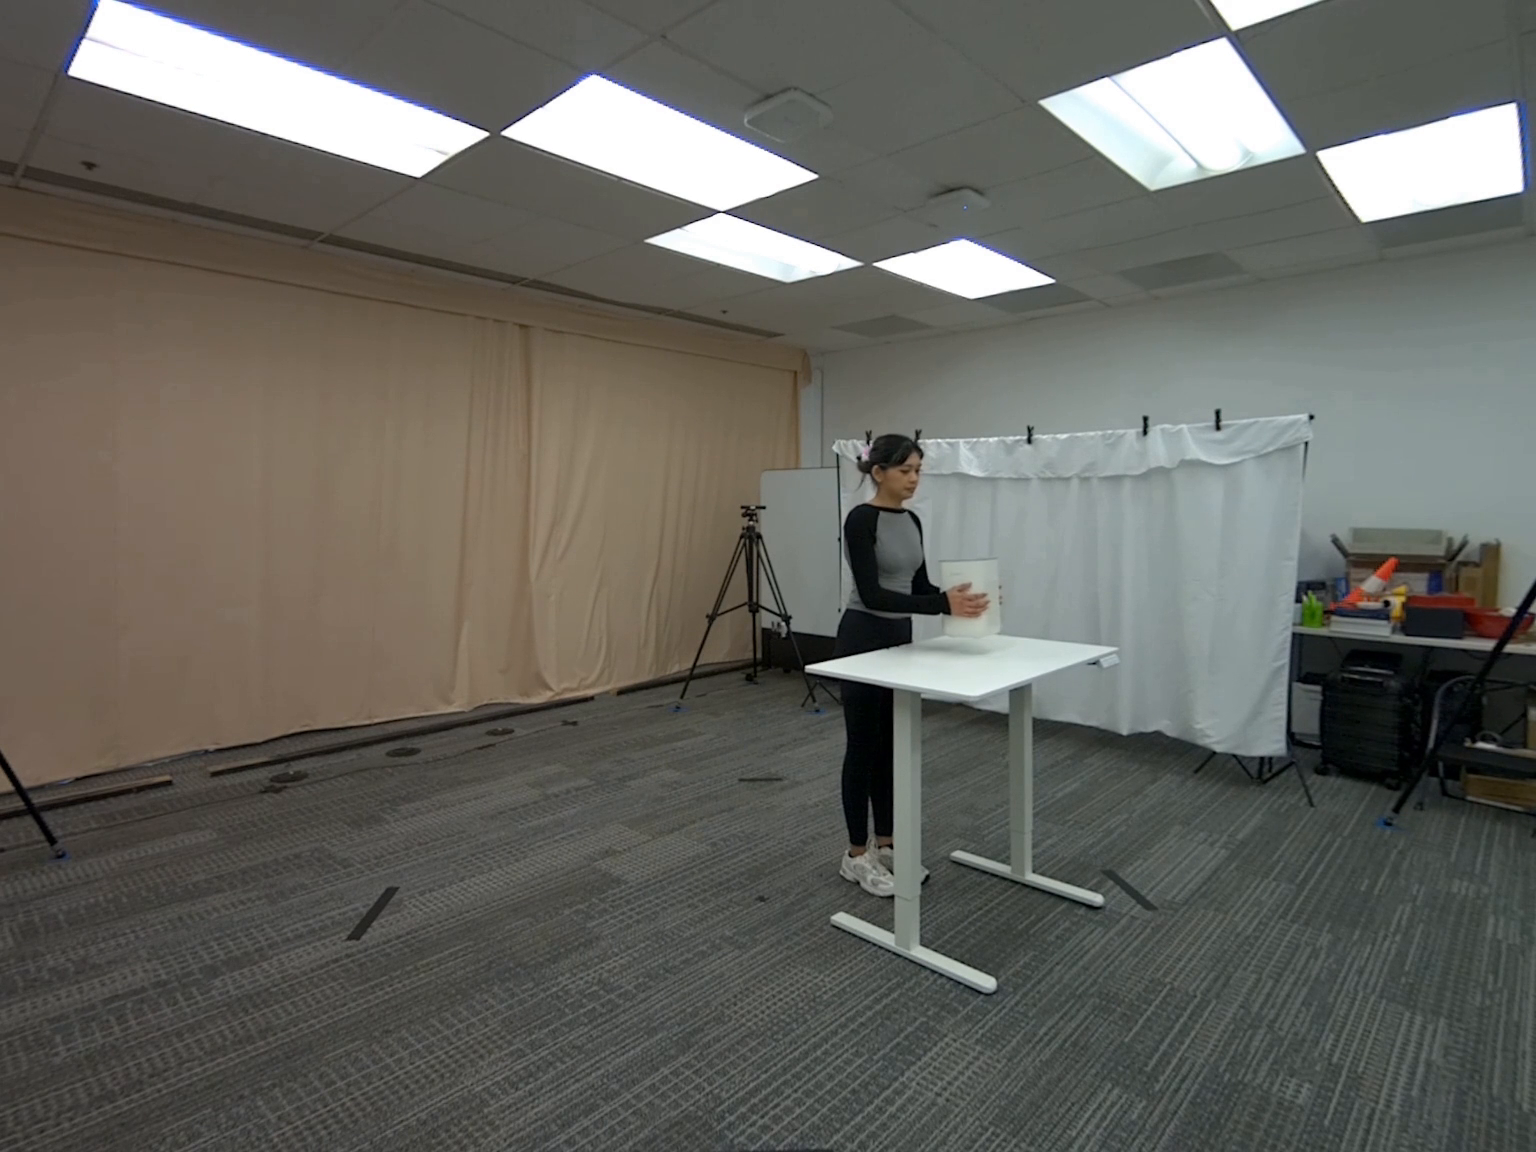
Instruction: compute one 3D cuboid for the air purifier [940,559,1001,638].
[{"bbox_3d":[0.709,0.078,2.903,0.176,0.265,0.166,-3,2,40],"label":"air purifier"}]
